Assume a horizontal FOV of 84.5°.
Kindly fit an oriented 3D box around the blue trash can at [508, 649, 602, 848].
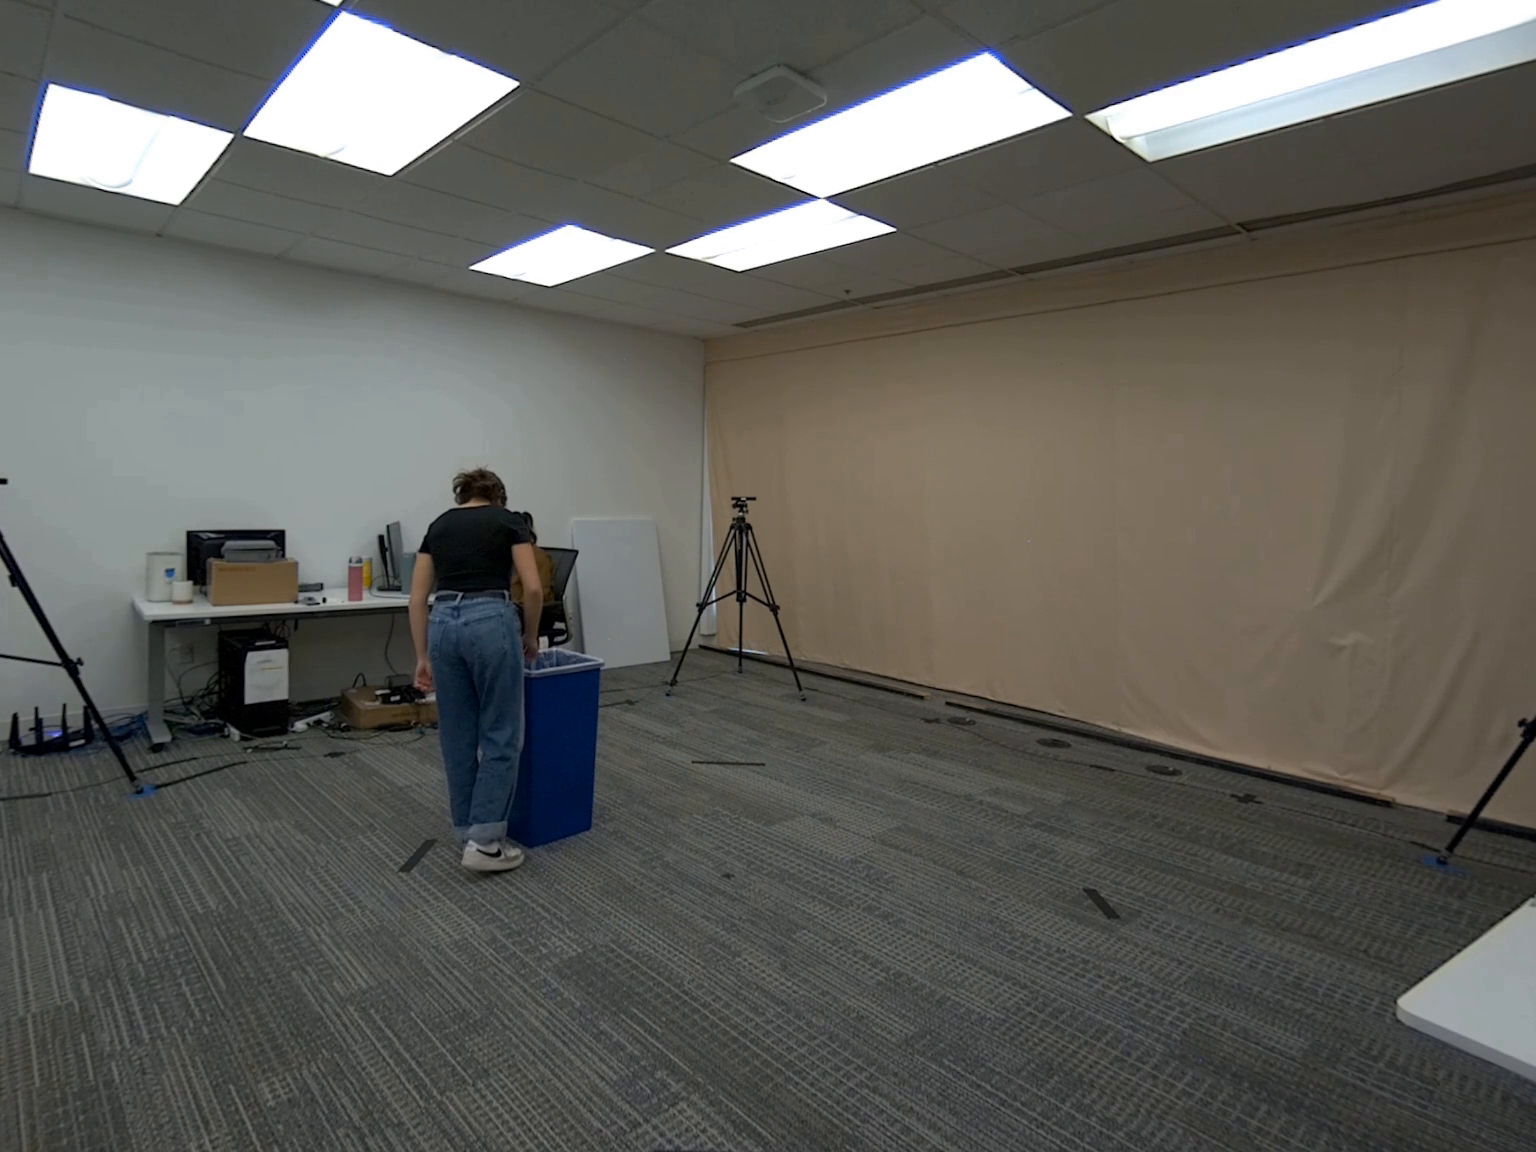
[{"bbox_3d":[-0.937,0.698,3.503,0.388,0.711,0.366,5,6,42],"label":"blue trash can"}]
